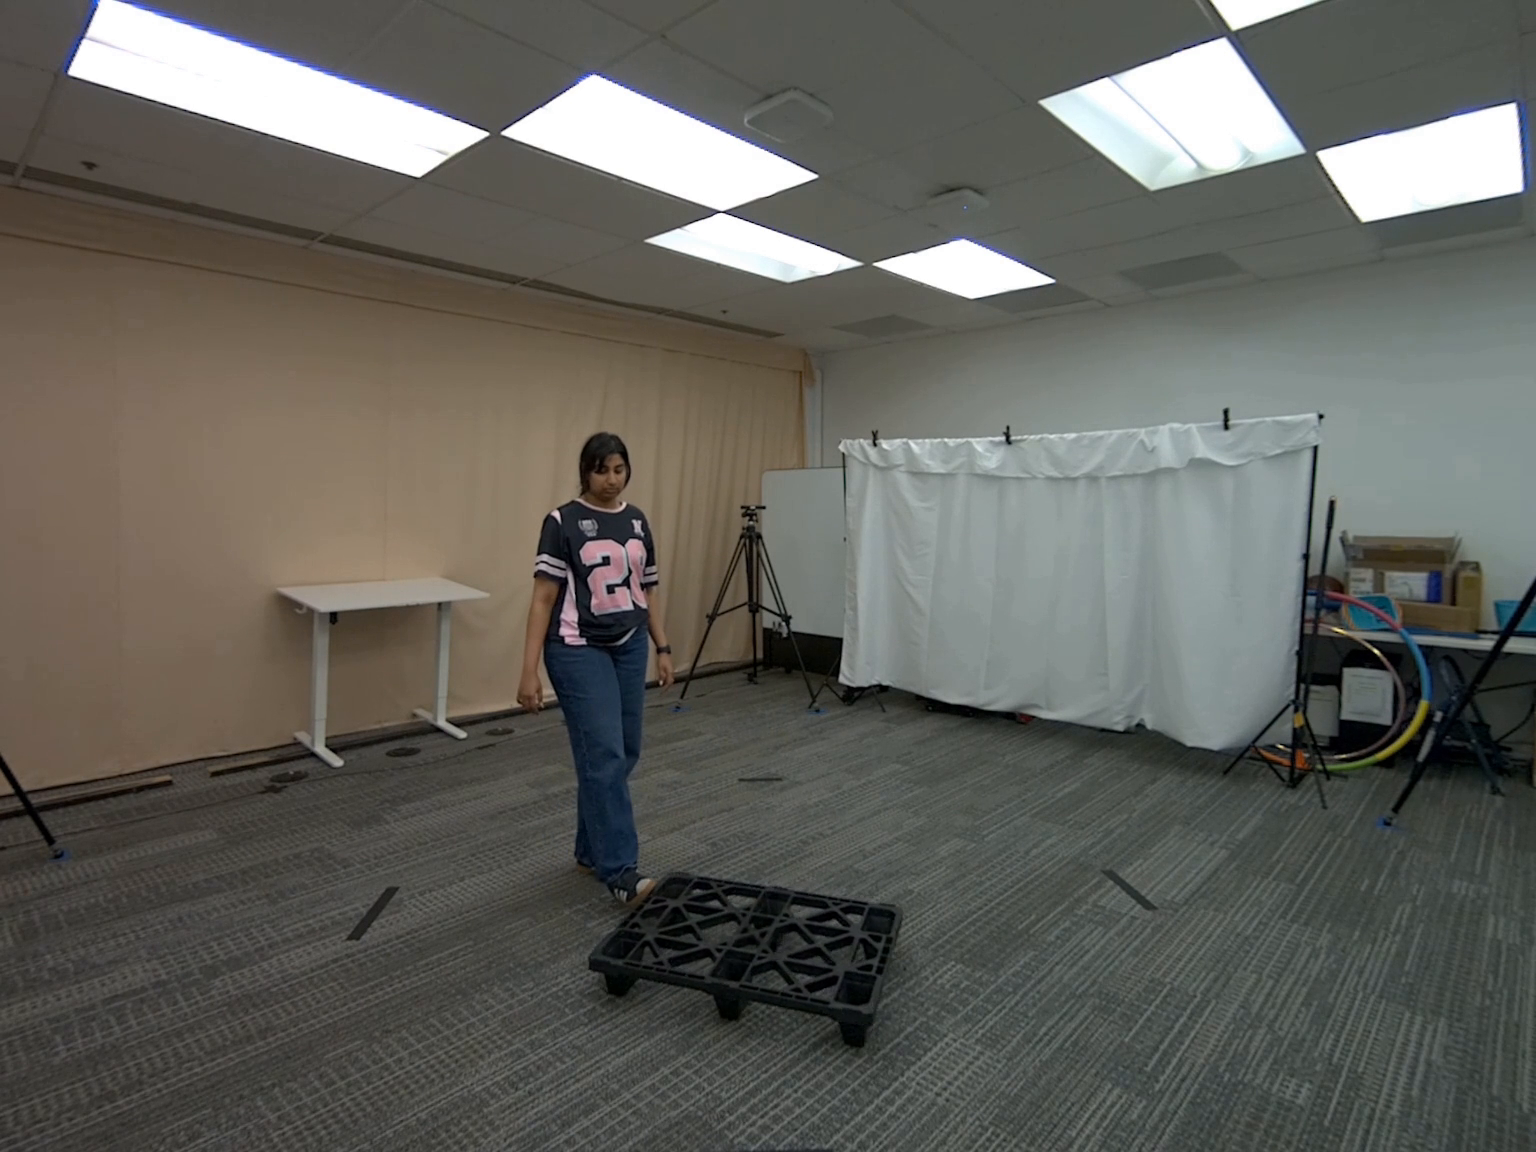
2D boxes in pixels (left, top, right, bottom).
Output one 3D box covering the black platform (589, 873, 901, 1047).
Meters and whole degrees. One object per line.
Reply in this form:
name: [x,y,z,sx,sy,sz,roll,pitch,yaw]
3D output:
black platform: [-0.042,1.117,2.500,0.822,0.143,0.594,1,5,18]
